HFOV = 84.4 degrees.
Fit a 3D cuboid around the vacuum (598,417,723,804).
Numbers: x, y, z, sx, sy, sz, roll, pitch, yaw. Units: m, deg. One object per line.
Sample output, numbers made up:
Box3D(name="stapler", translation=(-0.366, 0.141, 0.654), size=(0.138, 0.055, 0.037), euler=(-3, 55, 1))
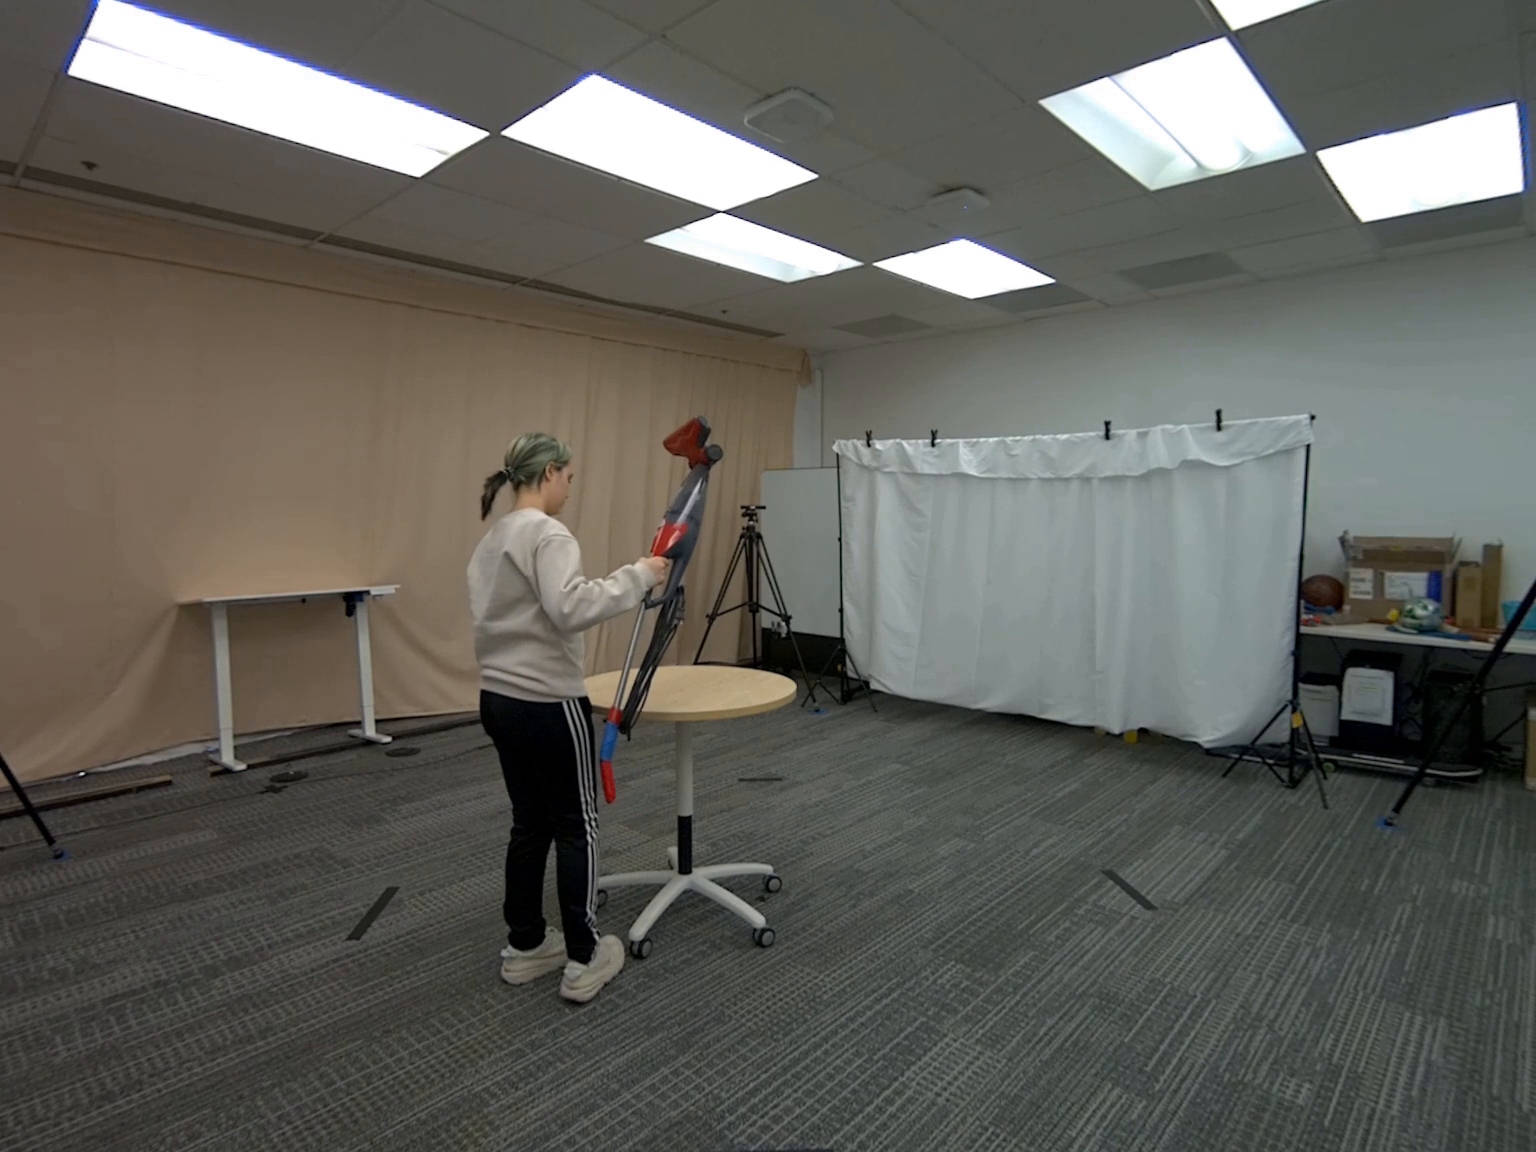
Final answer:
Box3D(name="vacuum", translation=(-0.302, 0.090, 2.368), size=(0.140, 1.056, 0.257), euler=(18, -19, -22))
